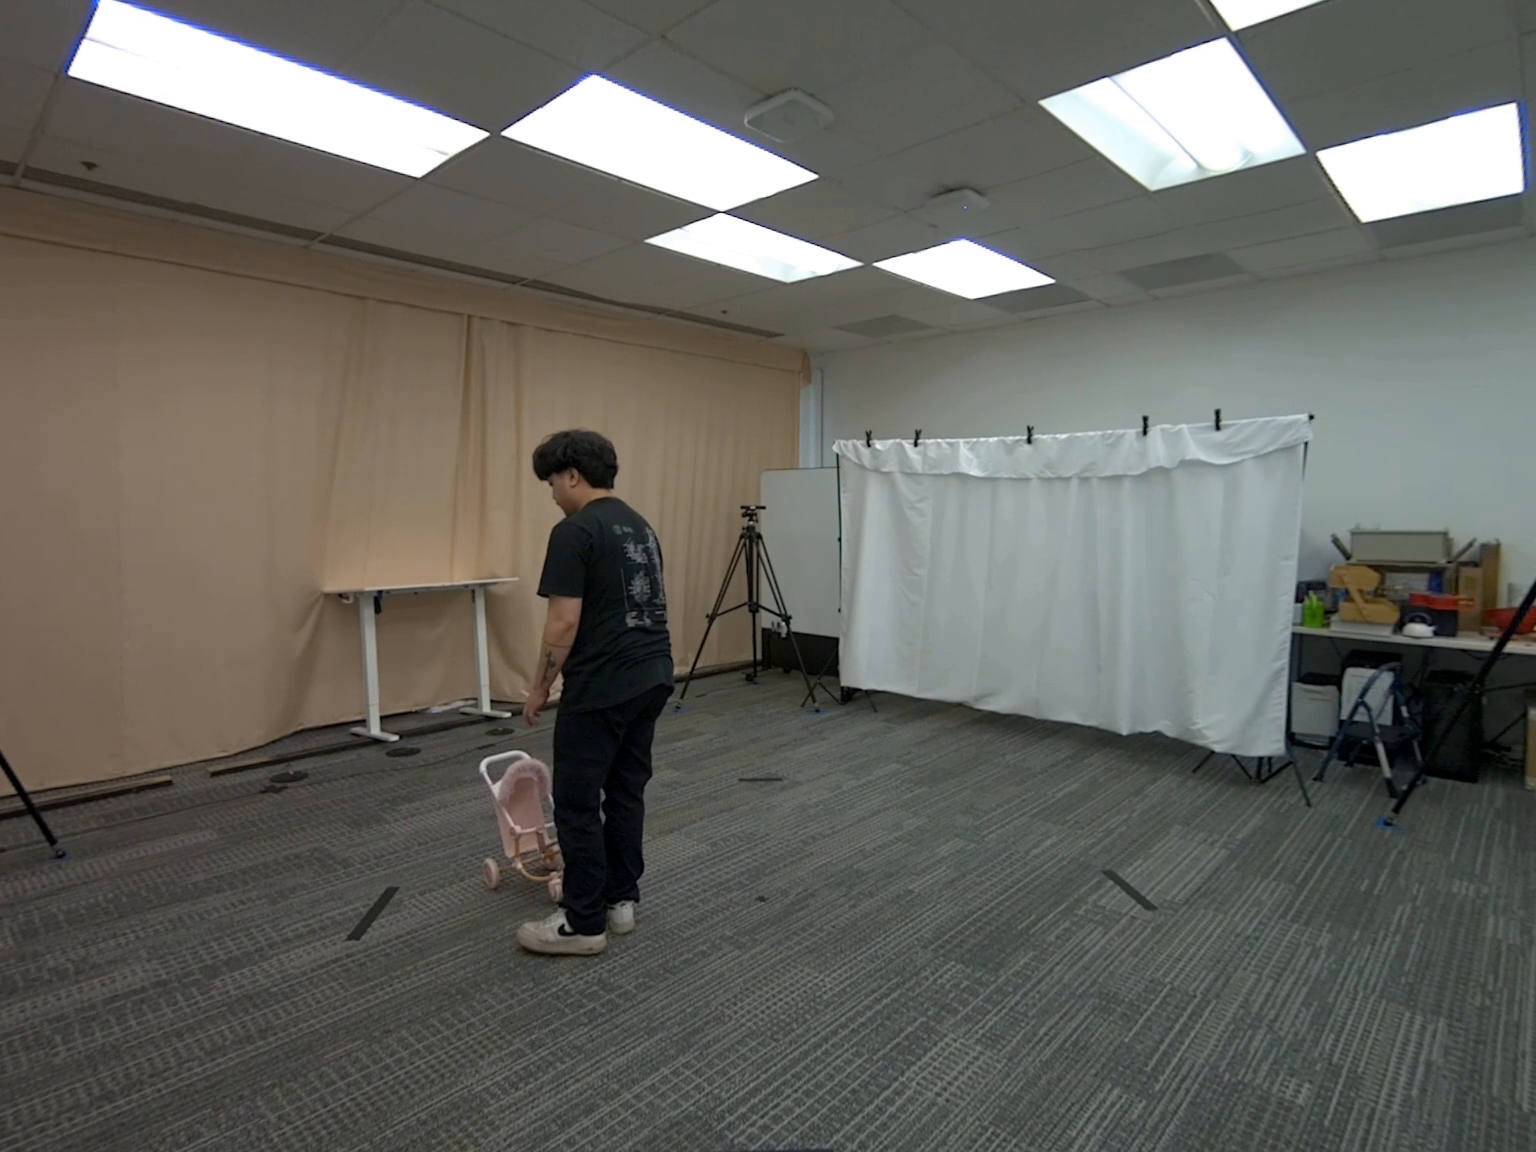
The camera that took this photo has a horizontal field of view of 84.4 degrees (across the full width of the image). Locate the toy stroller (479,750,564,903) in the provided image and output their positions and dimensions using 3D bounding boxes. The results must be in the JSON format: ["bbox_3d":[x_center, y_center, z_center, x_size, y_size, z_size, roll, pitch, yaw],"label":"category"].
[{"bbox_3d":[-0.887,0.923,3.107,0.273,0.539,0.349,-3,-11,-39],"label":"toy stroller"}]
